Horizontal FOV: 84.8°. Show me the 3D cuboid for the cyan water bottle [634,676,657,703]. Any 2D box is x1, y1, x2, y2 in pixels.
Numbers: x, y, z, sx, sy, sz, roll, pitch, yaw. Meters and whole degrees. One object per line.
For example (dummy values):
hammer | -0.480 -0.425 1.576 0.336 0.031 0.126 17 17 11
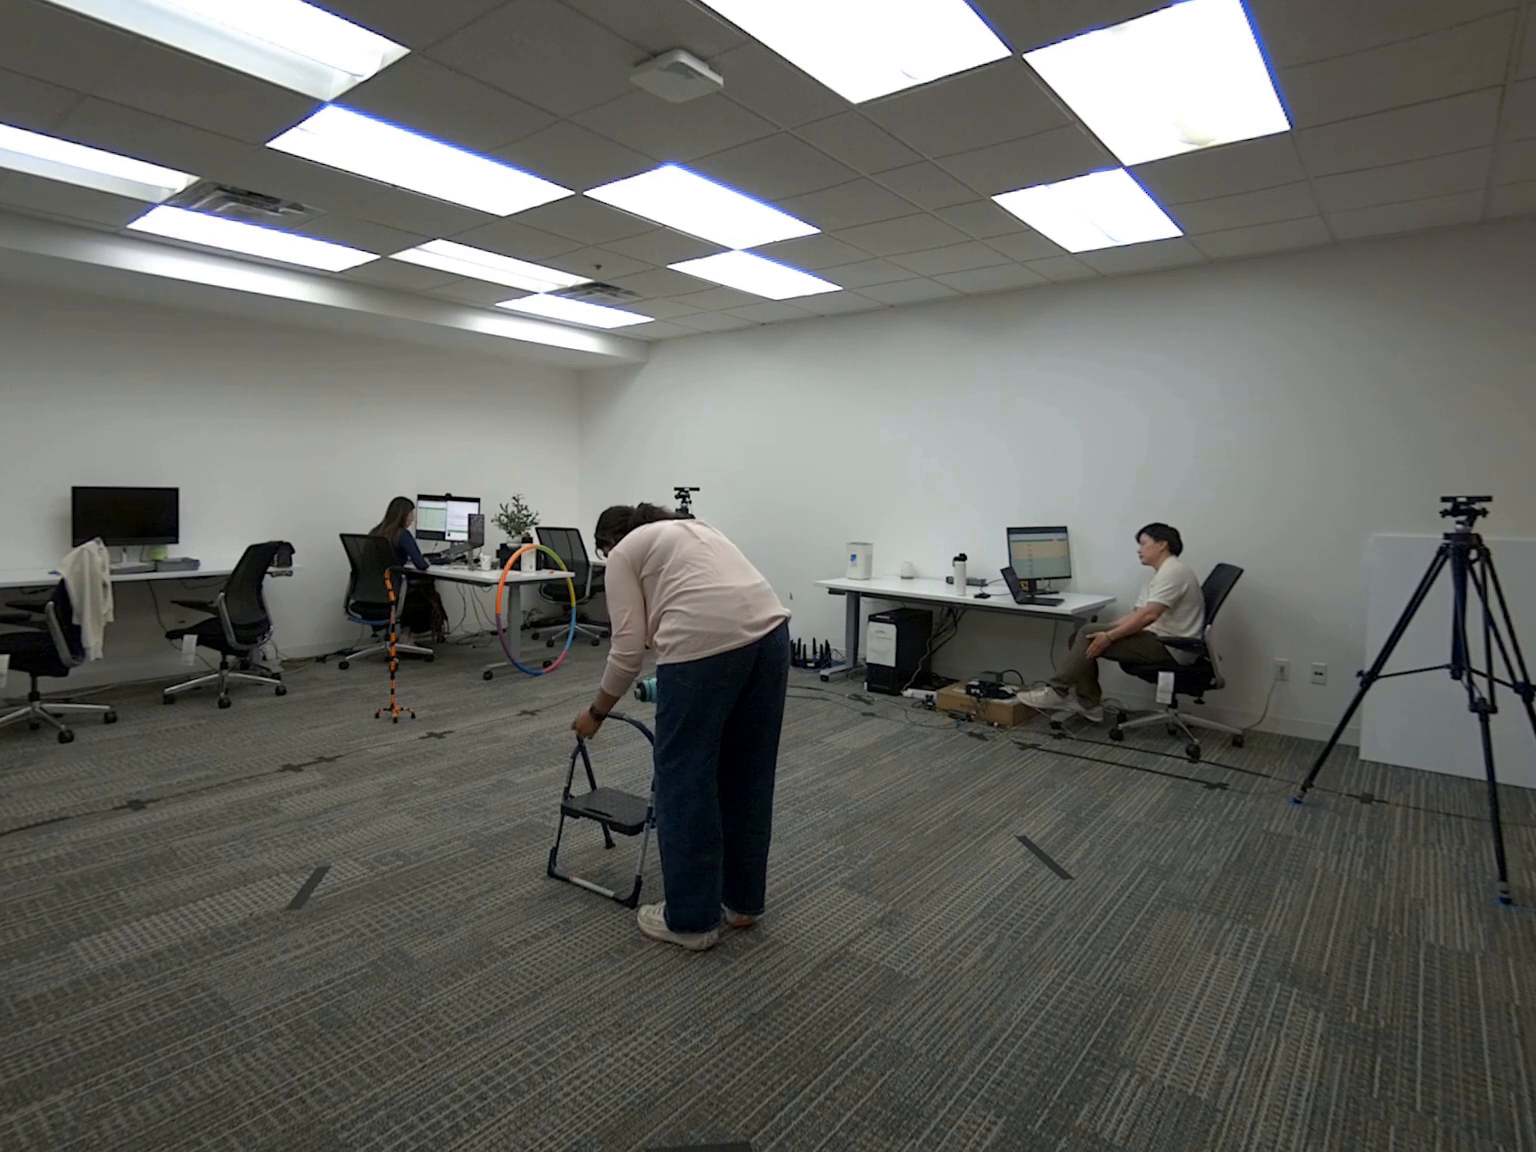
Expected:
cyan water bottle | -0.369 0.416 3.107 0.278 0.092 0.094 -1 5 -17
